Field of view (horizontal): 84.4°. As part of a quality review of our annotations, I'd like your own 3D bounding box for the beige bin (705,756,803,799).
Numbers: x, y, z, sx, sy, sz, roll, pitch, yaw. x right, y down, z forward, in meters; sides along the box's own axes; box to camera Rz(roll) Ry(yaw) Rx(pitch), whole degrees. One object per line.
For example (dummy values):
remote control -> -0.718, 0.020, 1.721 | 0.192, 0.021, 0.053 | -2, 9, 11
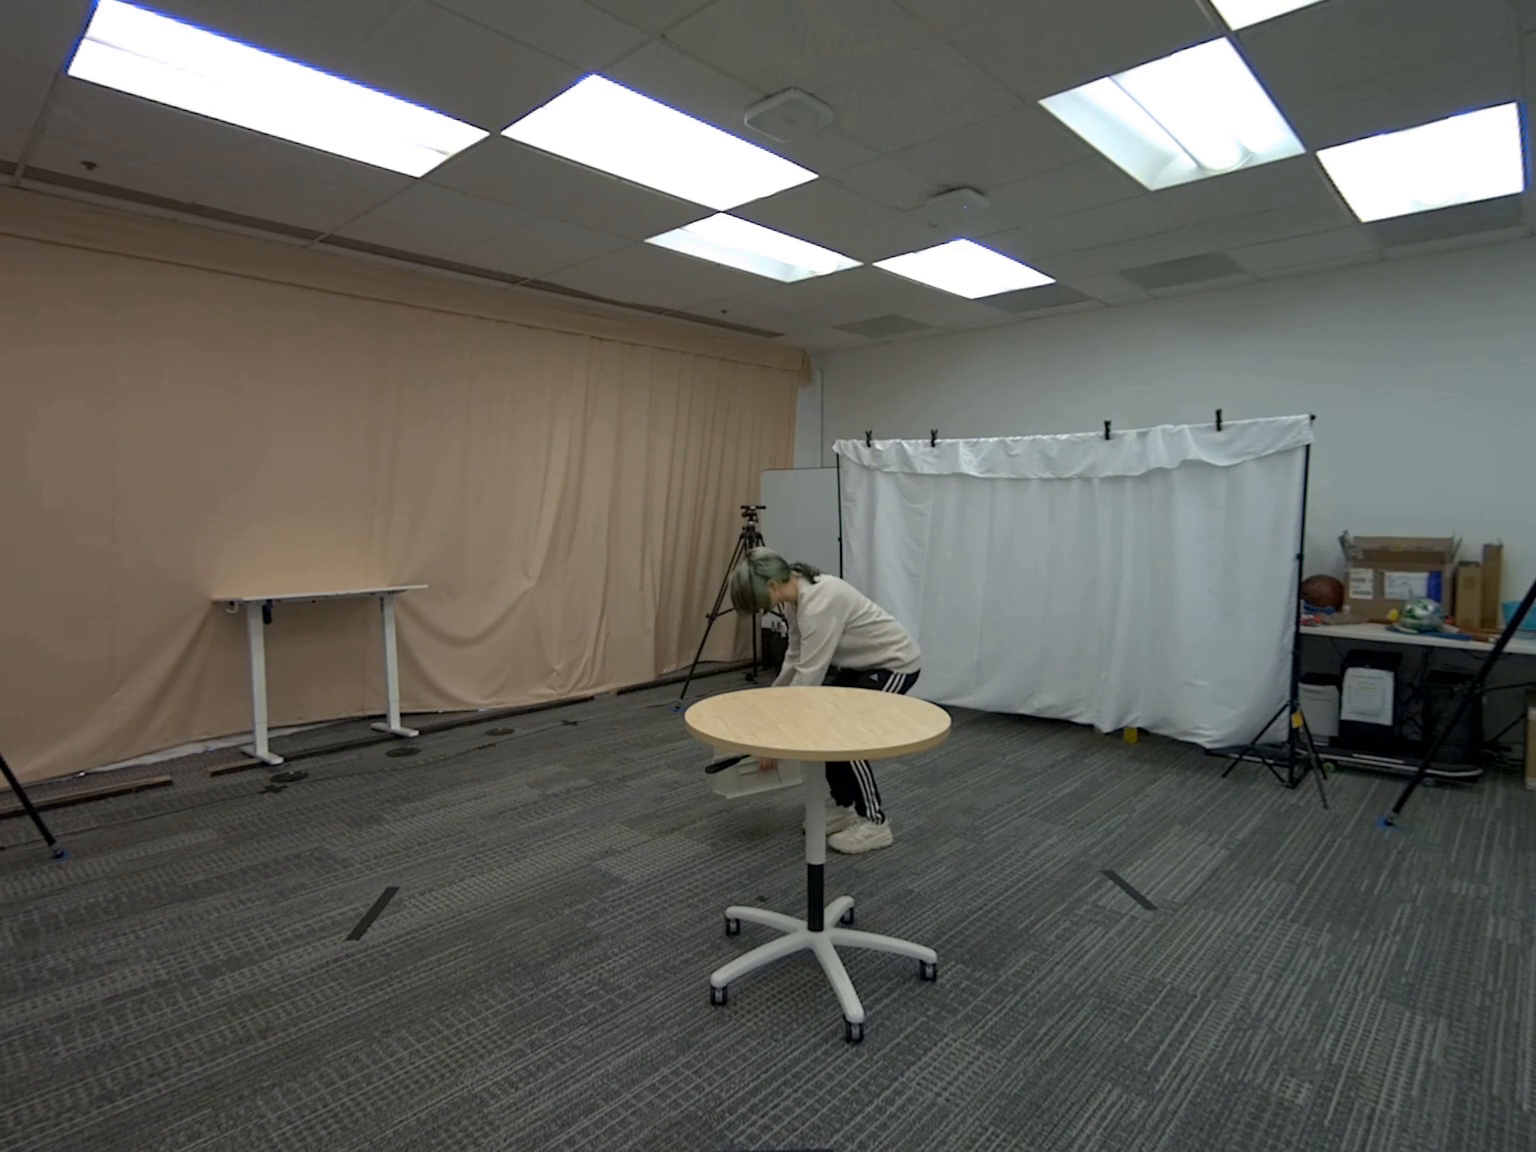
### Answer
beige bin -> -0.056, 0.779, 3.582 | 0.378, 0.189, 0.422 | -13, 2, 0
